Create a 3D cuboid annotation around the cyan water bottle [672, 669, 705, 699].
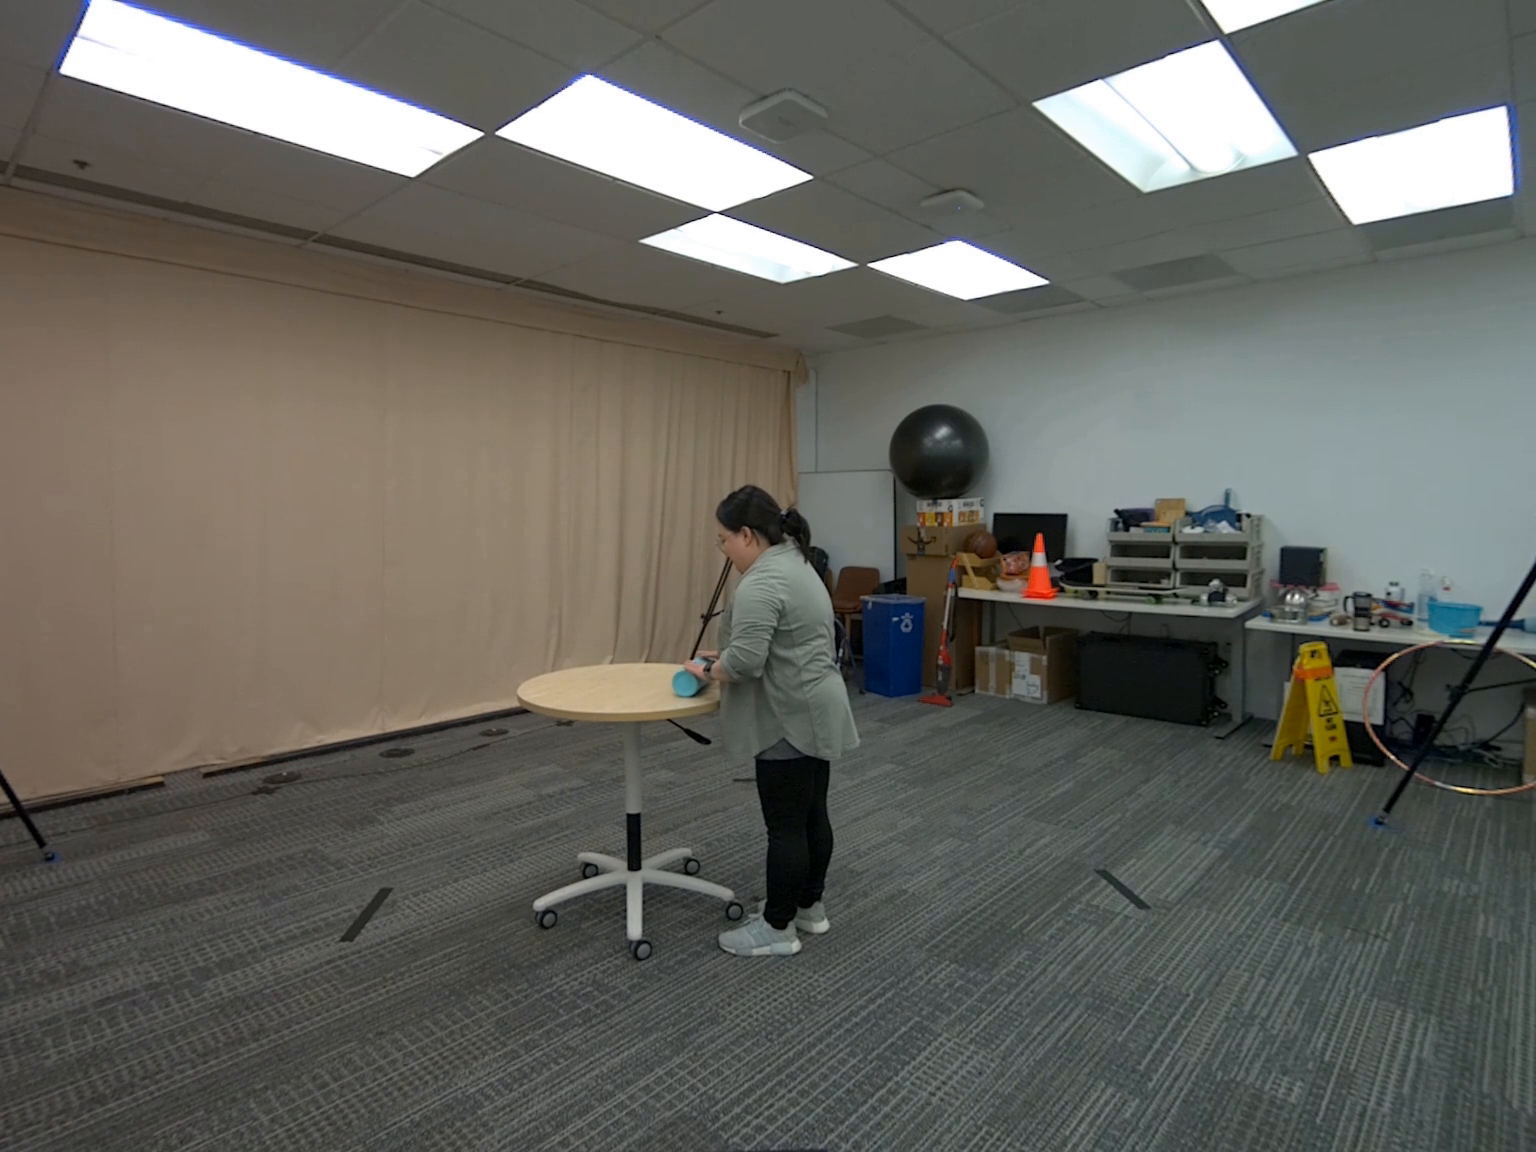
[{"bbox_3d":[-0.236,0.334,2.818,0.093,0.092,0.281,1,5,9],"label":"cyan water bottle"}]
